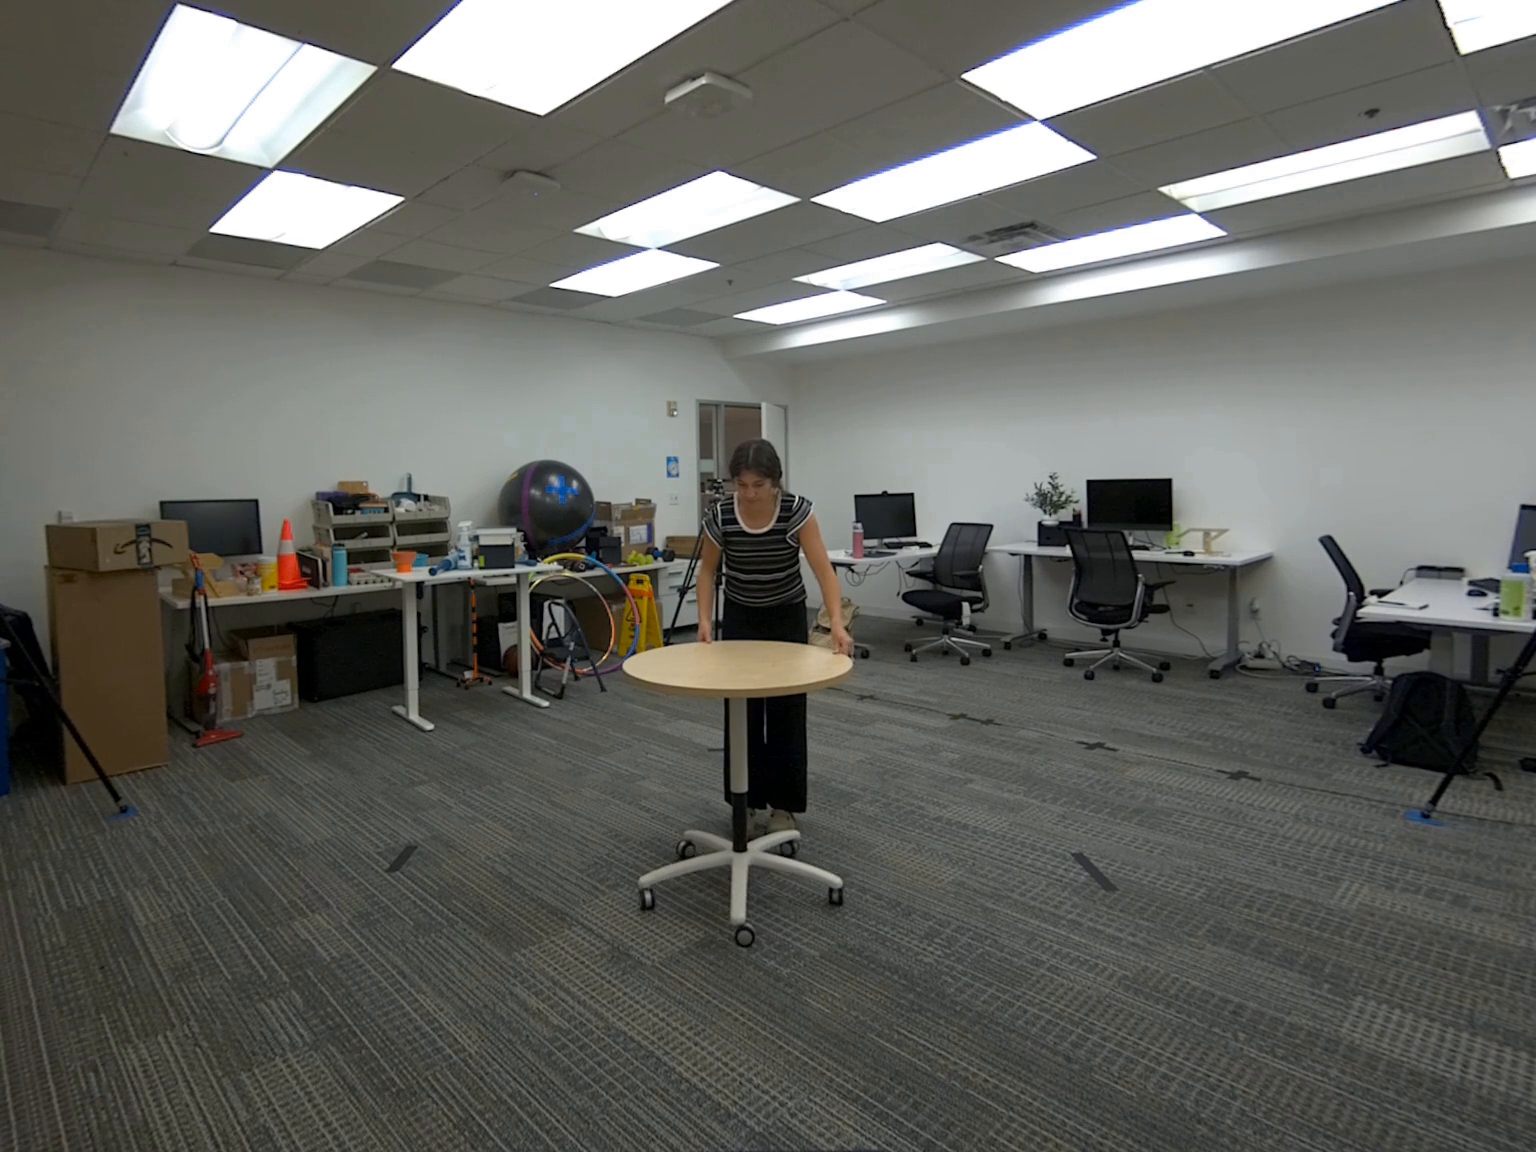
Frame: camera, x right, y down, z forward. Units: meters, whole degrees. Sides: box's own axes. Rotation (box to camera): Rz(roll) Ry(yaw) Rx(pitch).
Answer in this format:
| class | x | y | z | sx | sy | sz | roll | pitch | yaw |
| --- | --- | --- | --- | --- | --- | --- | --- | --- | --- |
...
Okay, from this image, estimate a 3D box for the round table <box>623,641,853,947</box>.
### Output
| class | x | y | z | sx | sy | sz | roll | pitch | yaw |
| --- | --- | --- | --- | --- | --- | --- | --- | --- | --- |
| round table | -0.085 | 0.680 | 2.868 | 0.784 | 0.783 | 0.789 | -1 | 5 | -2 |
